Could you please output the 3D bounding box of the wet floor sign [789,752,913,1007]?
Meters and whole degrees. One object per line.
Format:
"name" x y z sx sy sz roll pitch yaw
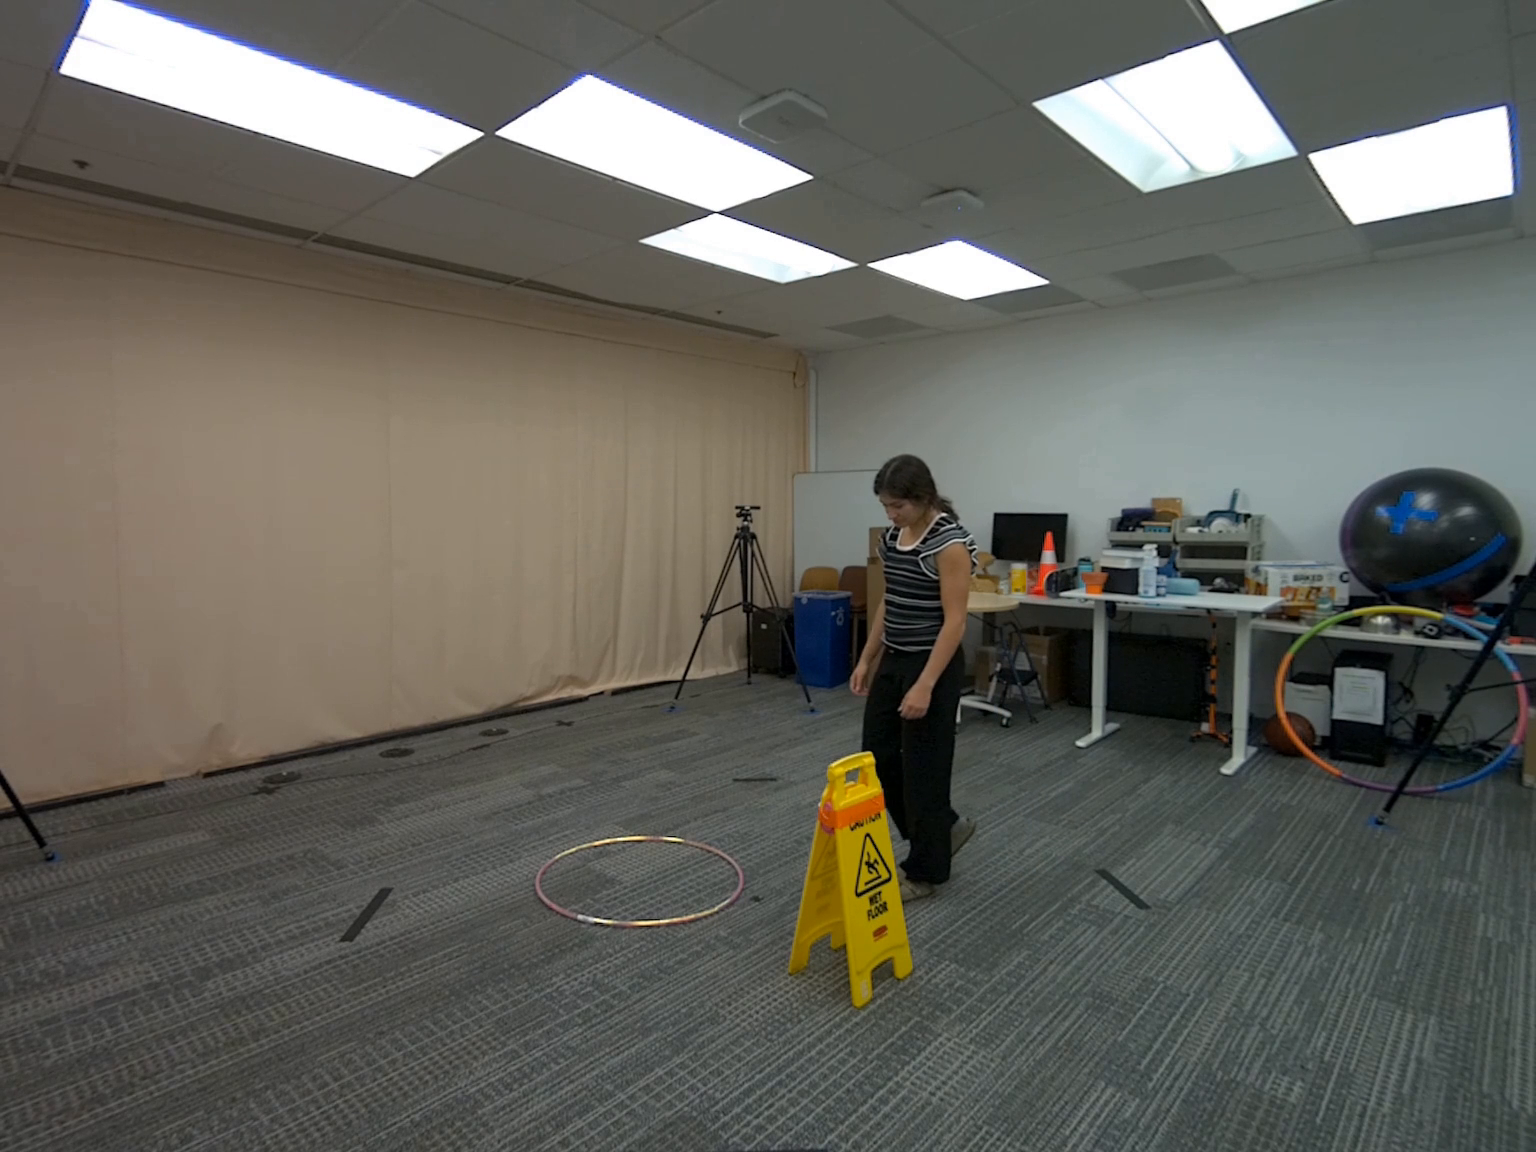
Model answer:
"wet floor sign" 0.247 0.860 2.494 0.299 0.645 0.273 2 3 44
